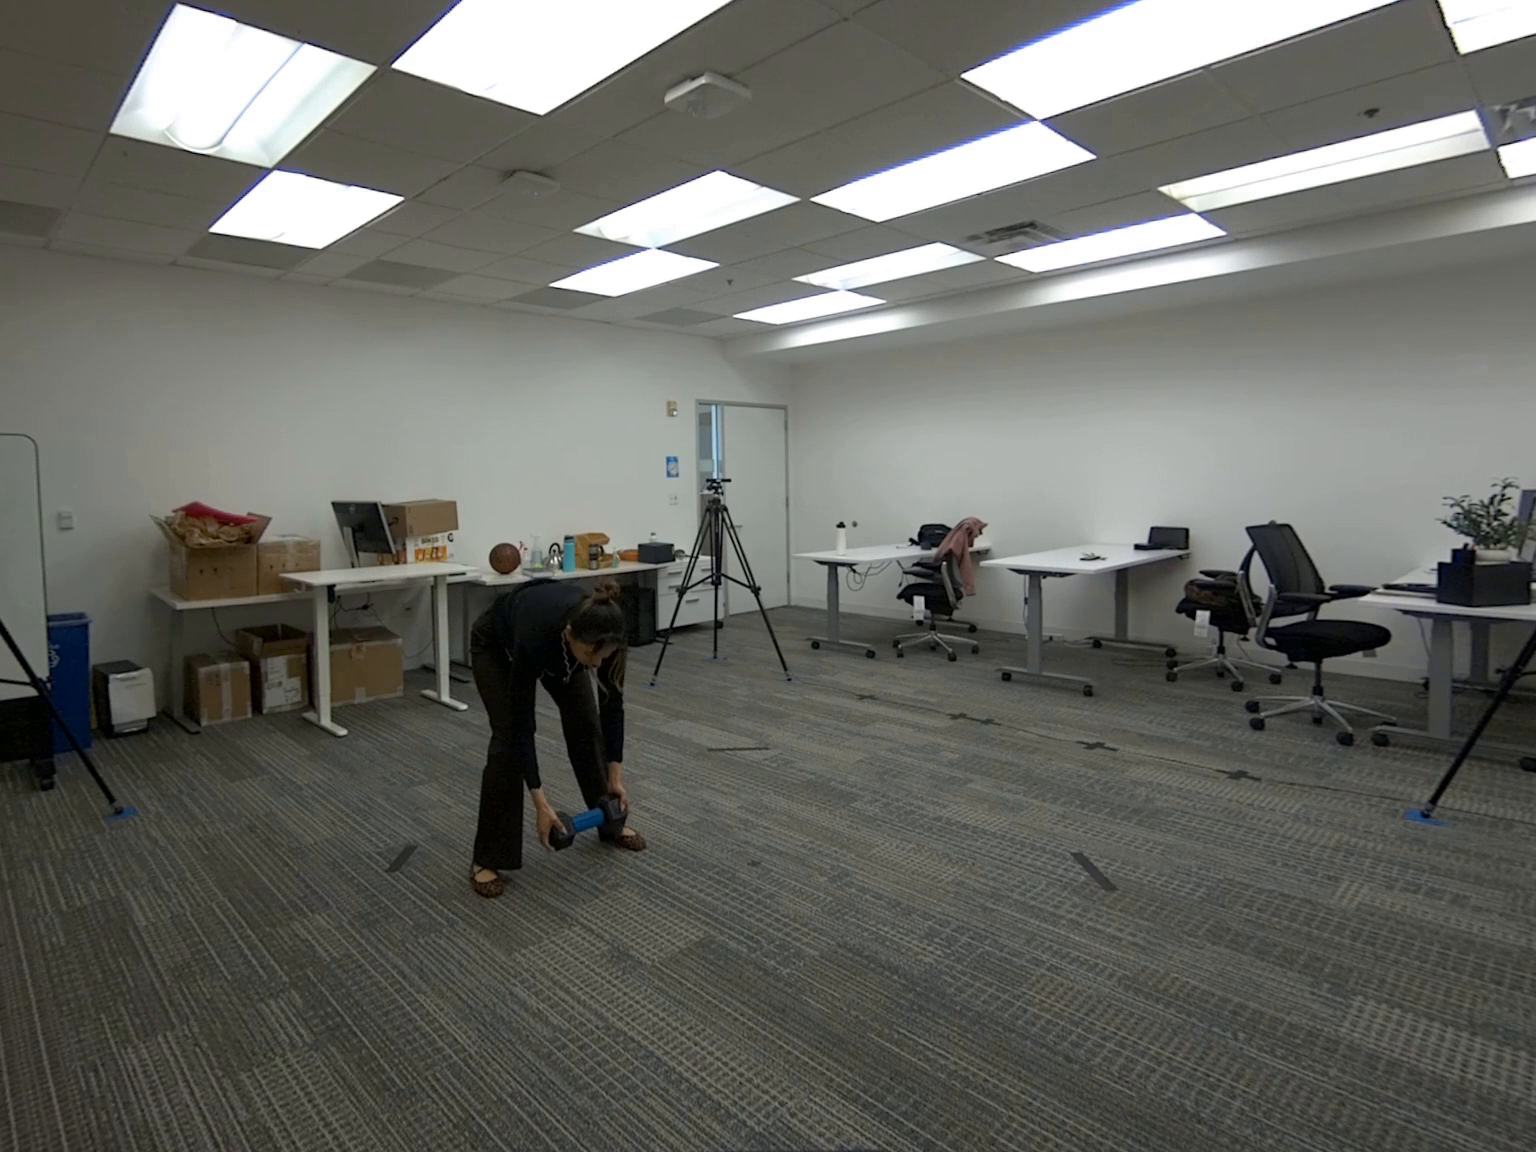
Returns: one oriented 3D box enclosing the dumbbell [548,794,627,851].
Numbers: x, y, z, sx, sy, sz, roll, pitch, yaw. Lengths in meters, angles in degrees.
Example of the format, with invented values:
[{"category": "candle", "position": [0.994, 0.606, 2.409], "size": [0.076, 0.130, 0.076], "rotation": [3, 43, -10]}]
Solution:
[{"category": "dumbbell", "position": [-0.647, 0.847, 2.965], "size": [0.286, 0.125, 0.109], "rotation": [-9, -18, -40]}]
